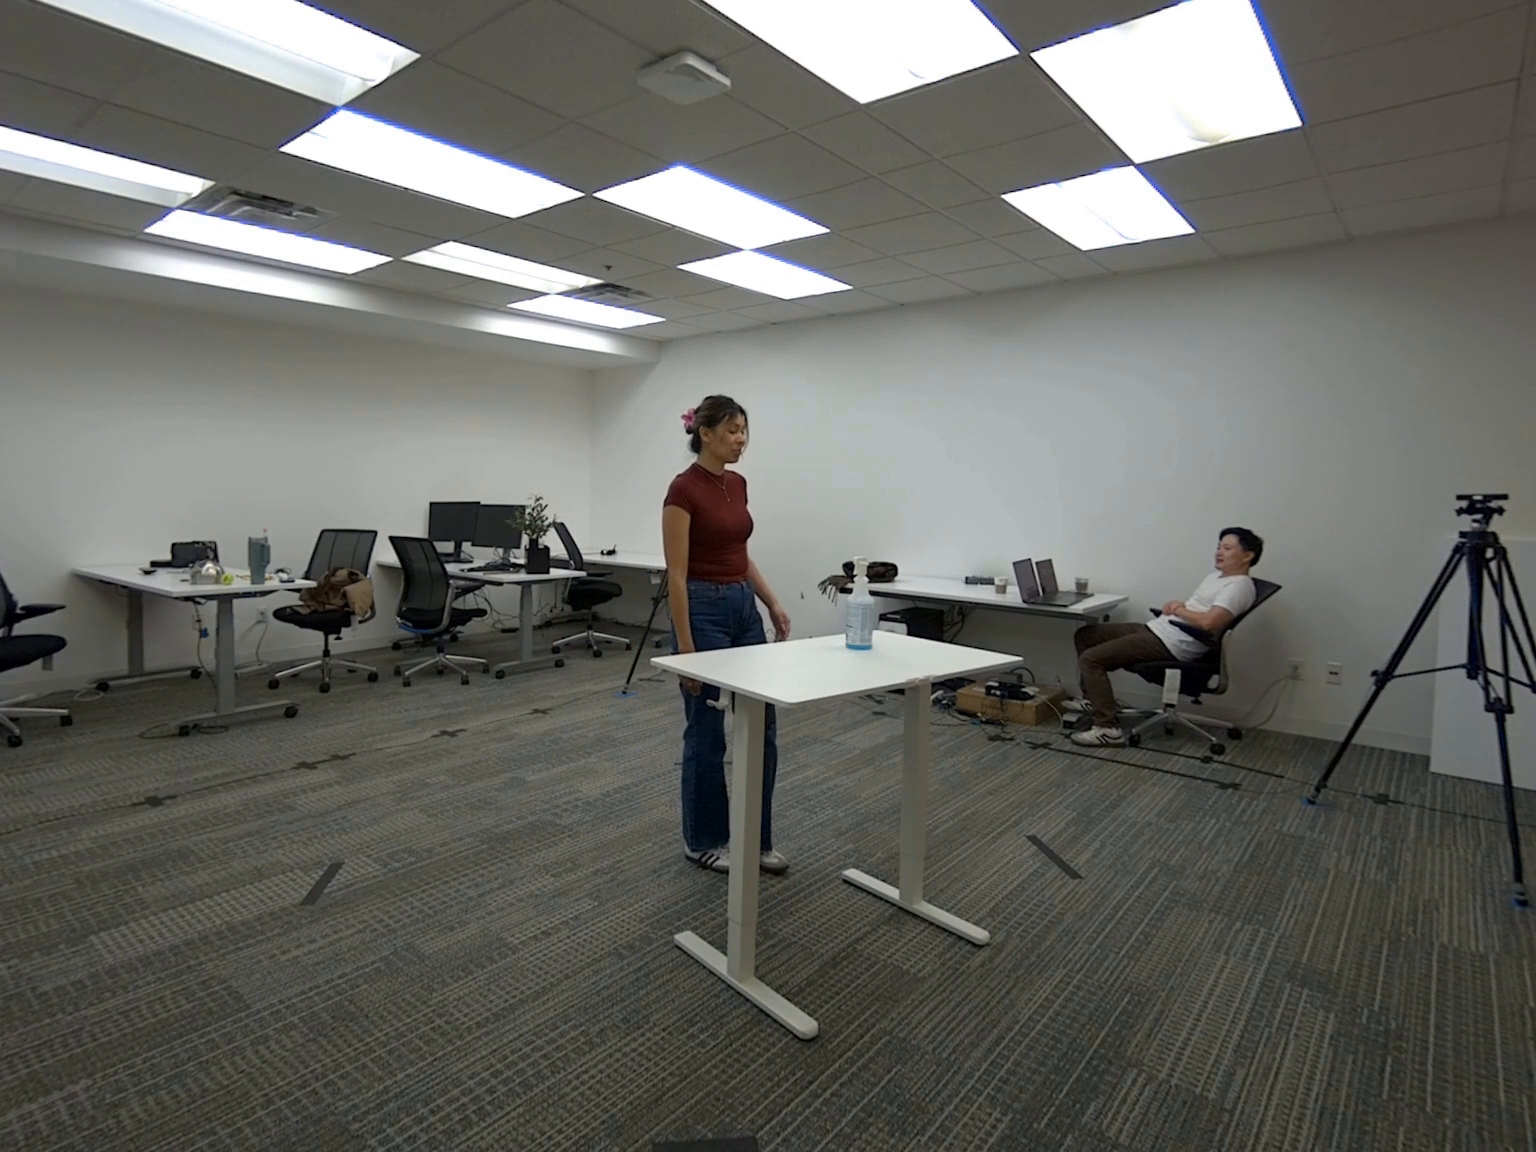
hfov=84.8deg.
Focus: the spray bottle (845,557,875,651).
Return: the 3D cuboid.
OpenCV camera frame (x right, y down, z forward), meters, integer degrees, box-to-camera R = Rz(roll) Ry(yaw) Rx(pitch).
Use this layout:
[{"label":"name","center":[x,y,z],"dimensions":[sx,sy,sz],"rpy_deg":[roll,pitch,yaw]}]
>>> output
[{"label":"spray bottle","center":[0.288,0.086,2.740],"dimensions":[0.087,0.296,0.090],"rpy_deg":[0,4,-30]}]
